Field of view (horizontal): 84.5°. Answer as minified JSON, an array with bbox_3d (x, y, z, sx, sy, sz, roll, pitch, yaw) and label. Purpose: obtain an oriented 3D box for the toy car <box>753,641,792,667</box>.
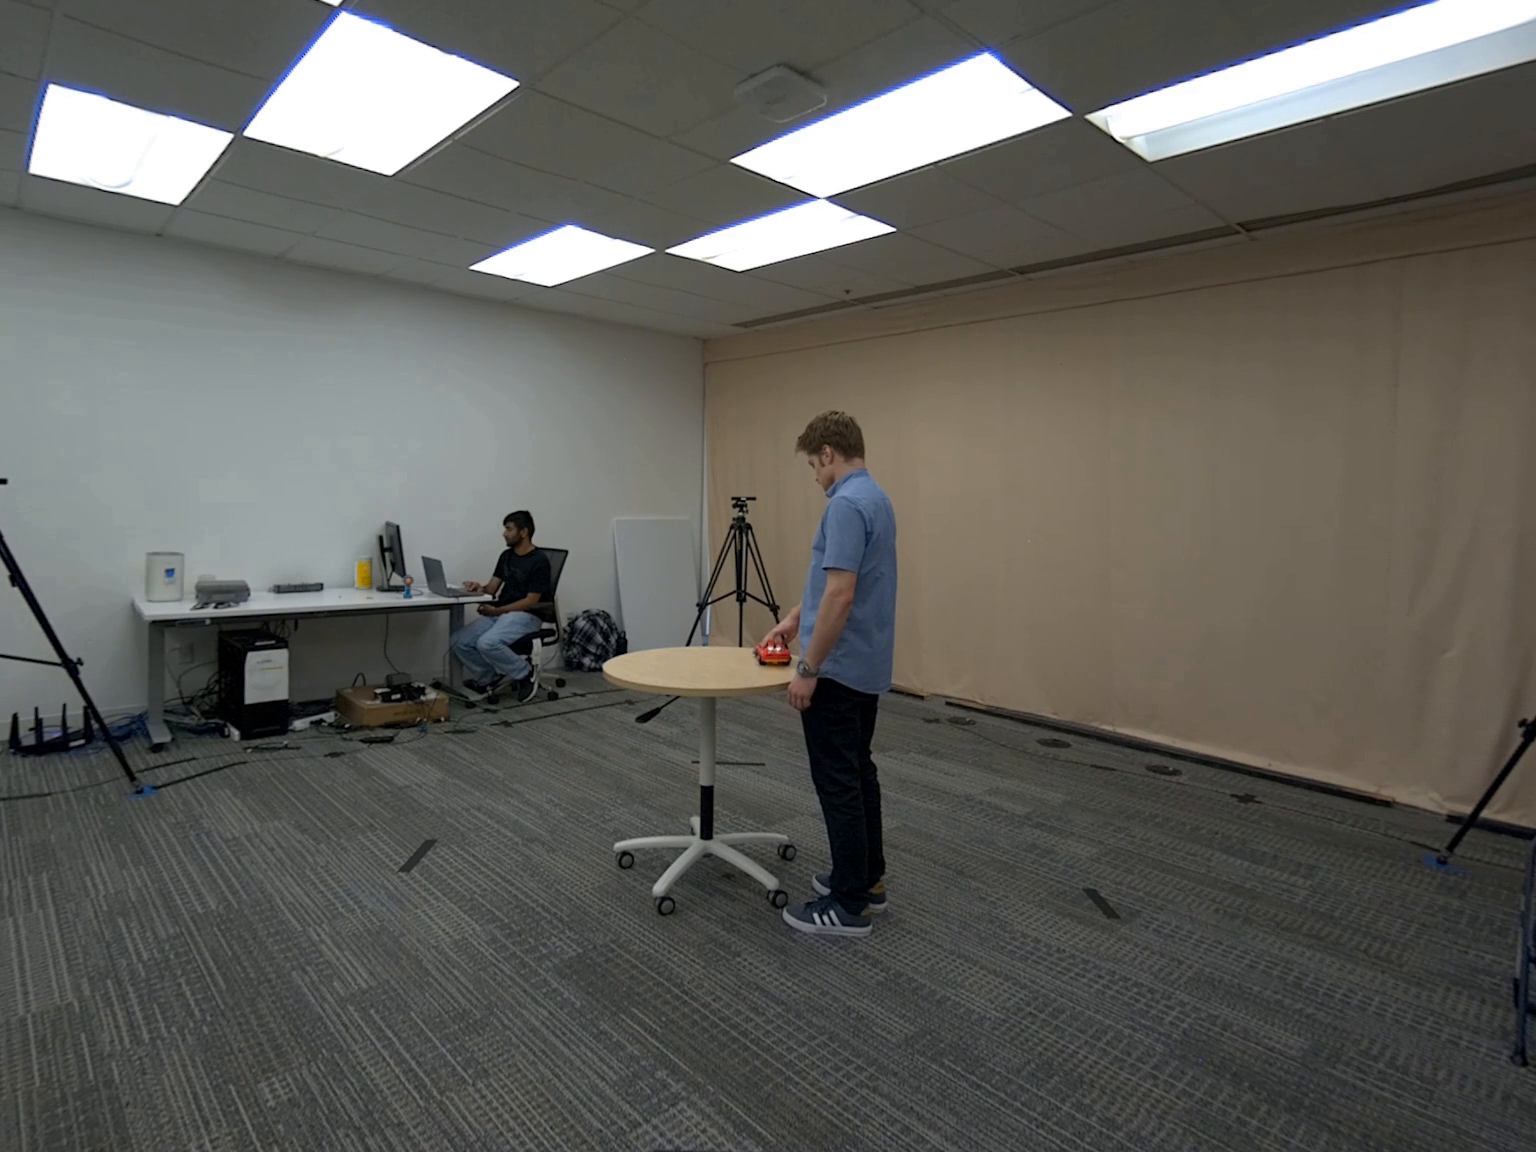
[{"bbox_3d":[0.011,0.290,3.130,0.130,0.084,0.254,1,-7,-6],"label":"toy car"}]
